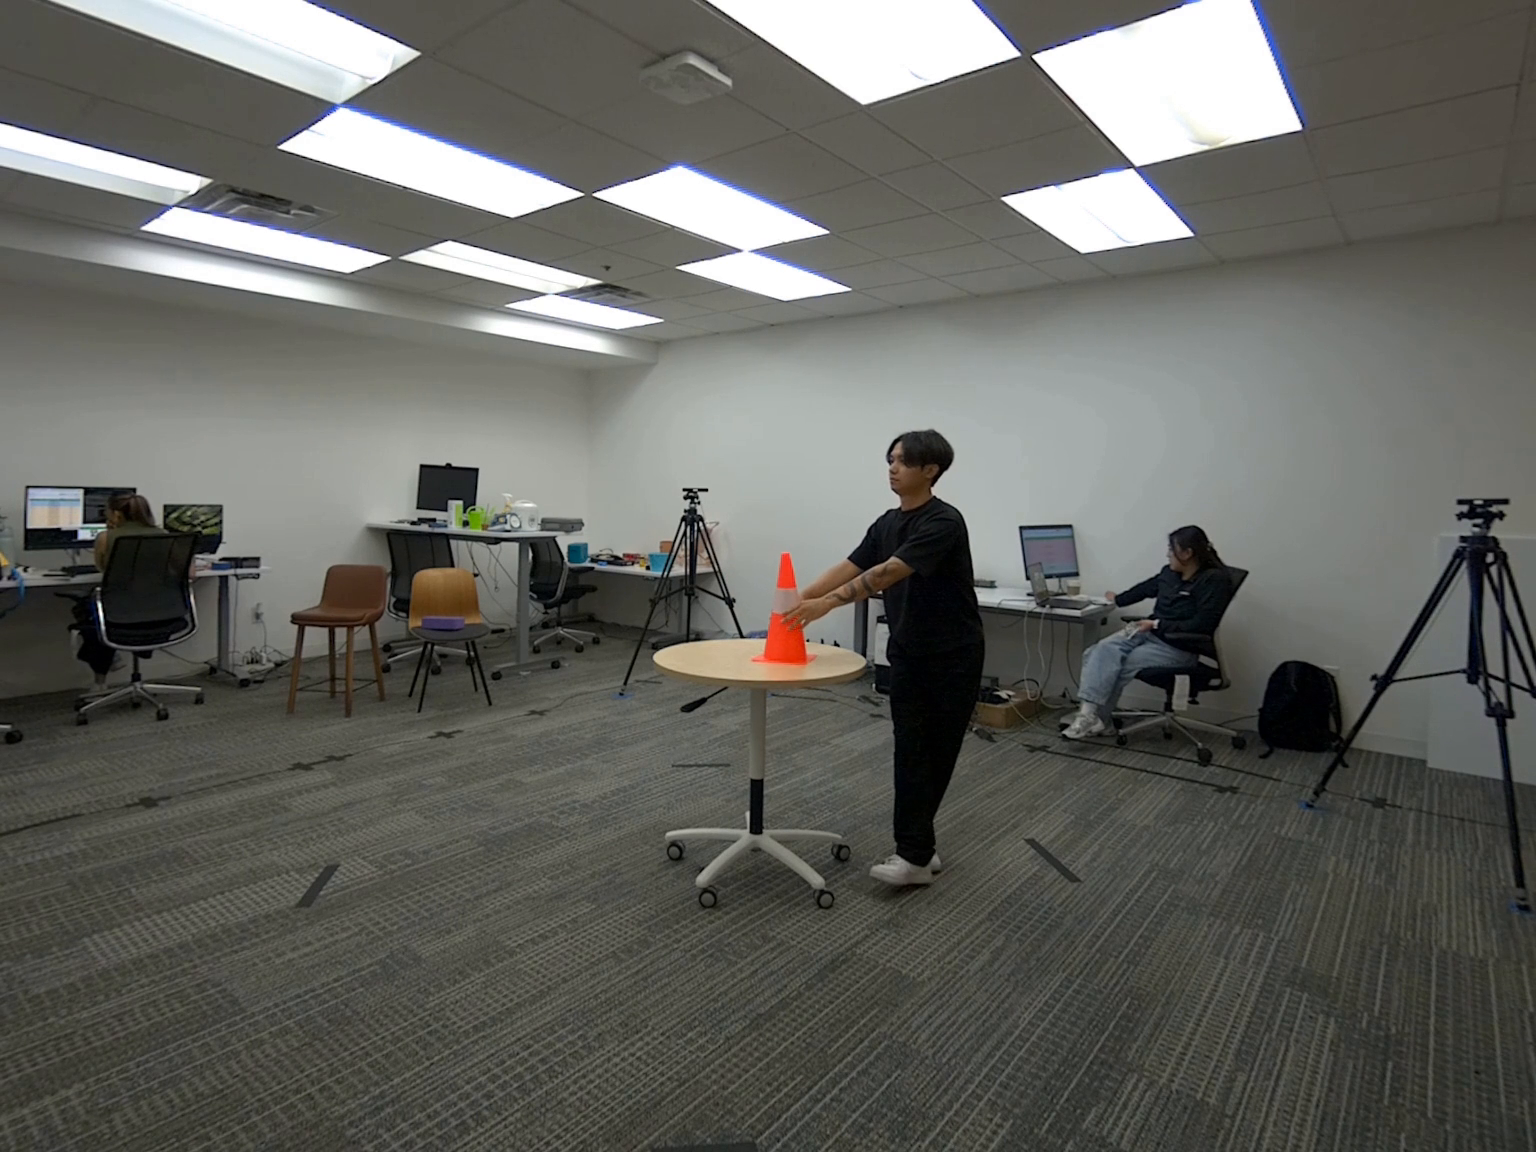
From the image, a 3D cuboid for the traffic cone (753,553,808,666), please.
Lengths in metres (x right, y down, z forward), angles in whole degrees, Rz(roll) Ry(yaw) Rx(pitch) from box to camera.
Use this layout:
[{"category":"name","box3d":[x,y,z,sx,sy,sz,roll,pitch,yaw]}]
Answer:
[{"category":"traffic cone","box3d":[0.052,0.104,3.054,0.208,0.382,0.201,0,4,23]}]
